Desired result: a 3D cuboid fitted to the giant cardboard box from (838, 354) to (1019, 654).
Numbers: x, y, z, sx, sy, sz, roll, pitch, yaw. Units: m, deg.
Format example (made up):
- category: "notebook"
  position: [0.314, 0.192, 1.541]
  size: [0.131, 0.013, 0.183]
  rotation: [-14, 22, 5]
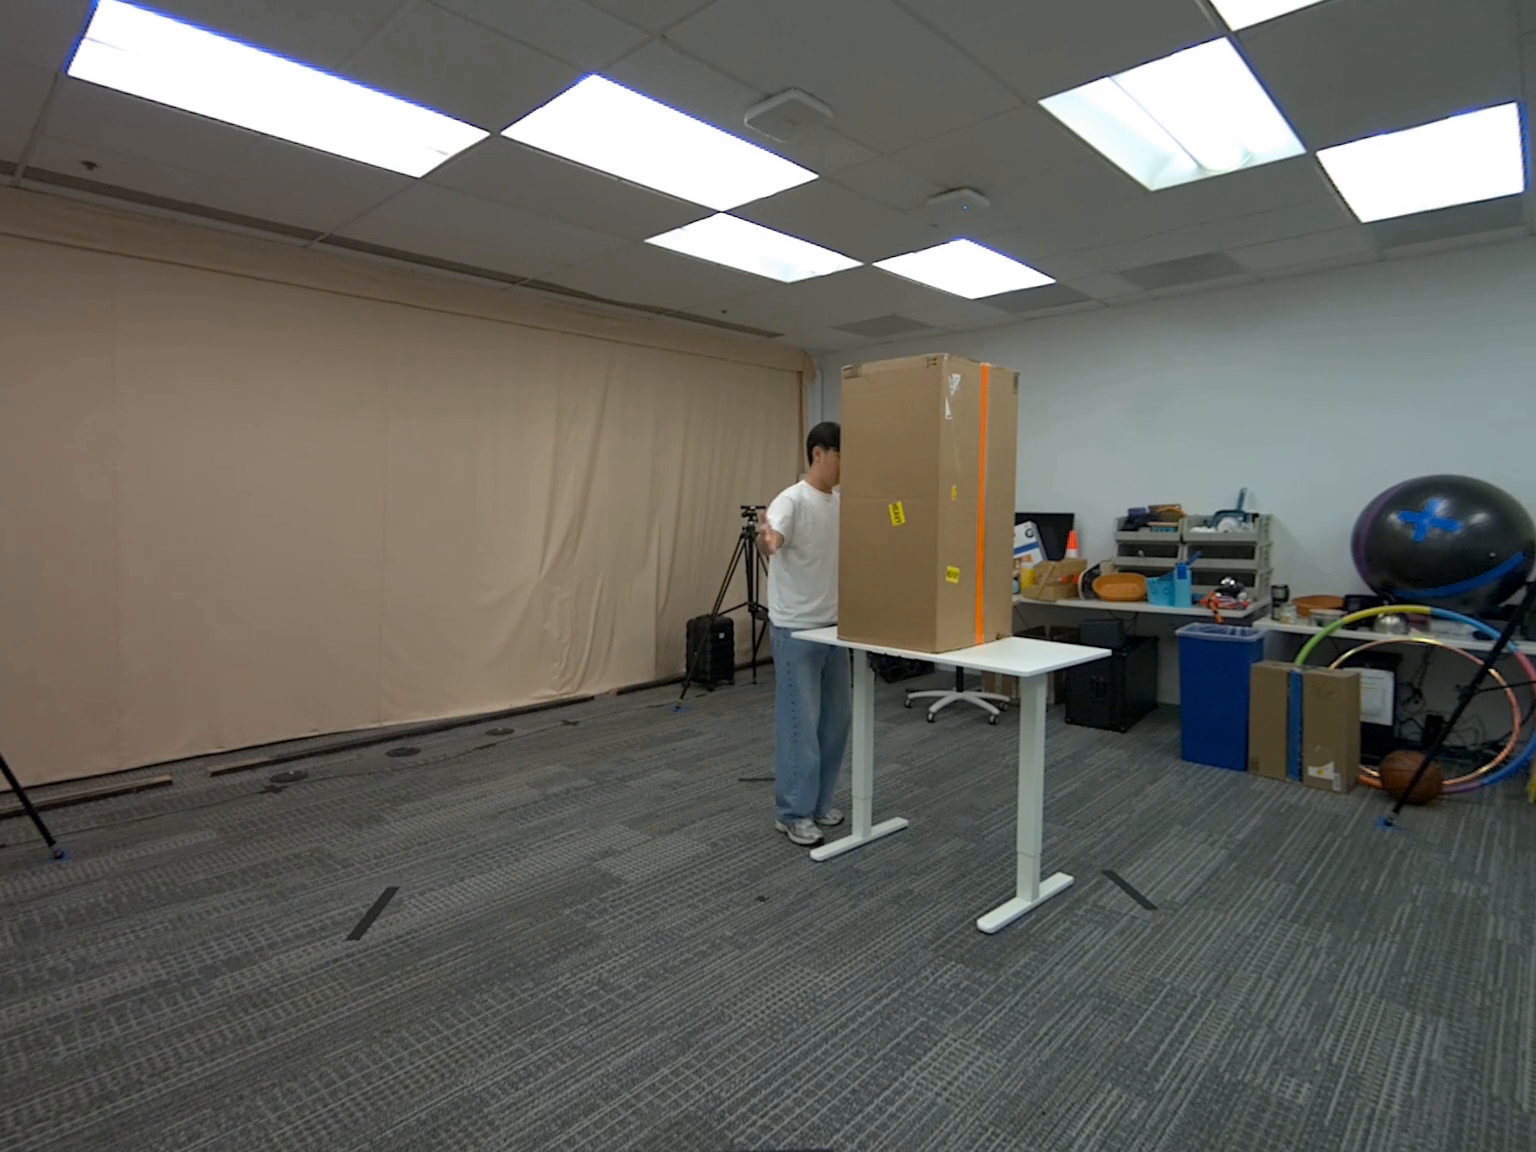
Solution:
- category: "giant cardboard box"
  position: [0.621, -0.266, 3.199]
  size: [0.440, 1.023, 0.559]
  rotation: [4, 5, 43]
